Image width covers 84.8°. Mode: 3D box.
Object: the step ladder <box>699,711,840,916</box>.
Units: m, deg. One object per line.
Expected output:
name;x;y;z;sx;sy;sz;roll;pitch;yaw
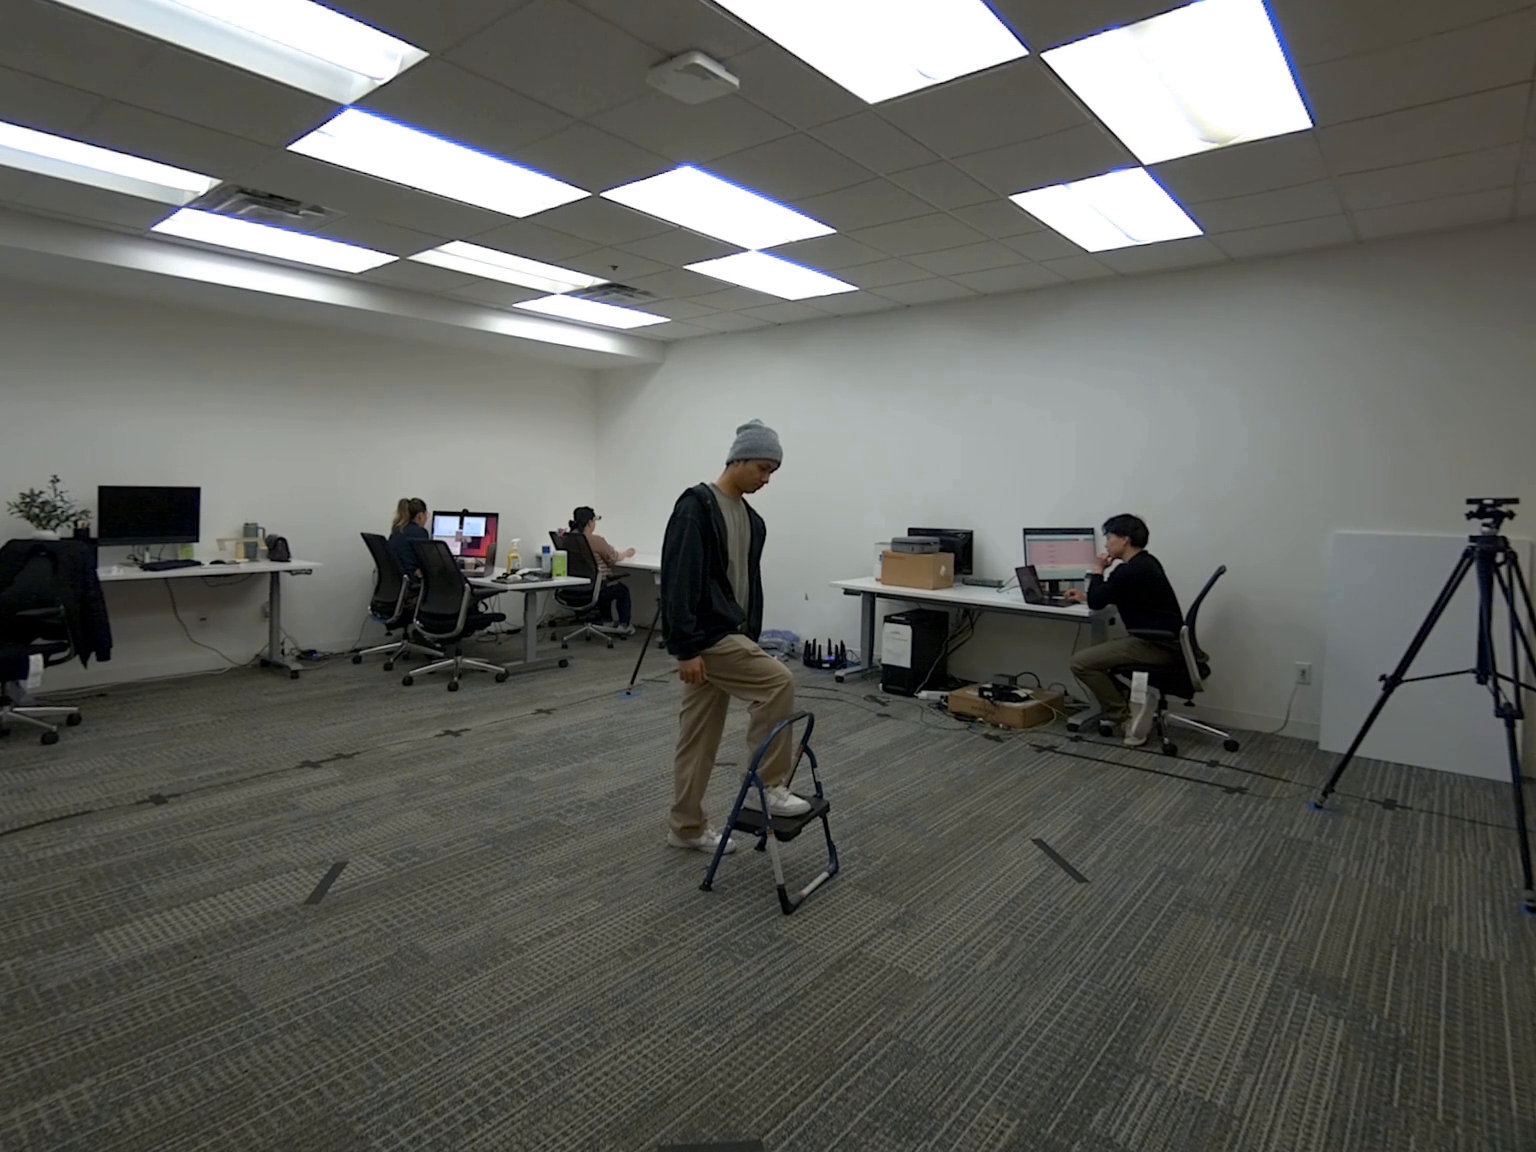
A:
step ladder;0.016;0.778;3.016;0.359;0.604;0.420;3;4;29
